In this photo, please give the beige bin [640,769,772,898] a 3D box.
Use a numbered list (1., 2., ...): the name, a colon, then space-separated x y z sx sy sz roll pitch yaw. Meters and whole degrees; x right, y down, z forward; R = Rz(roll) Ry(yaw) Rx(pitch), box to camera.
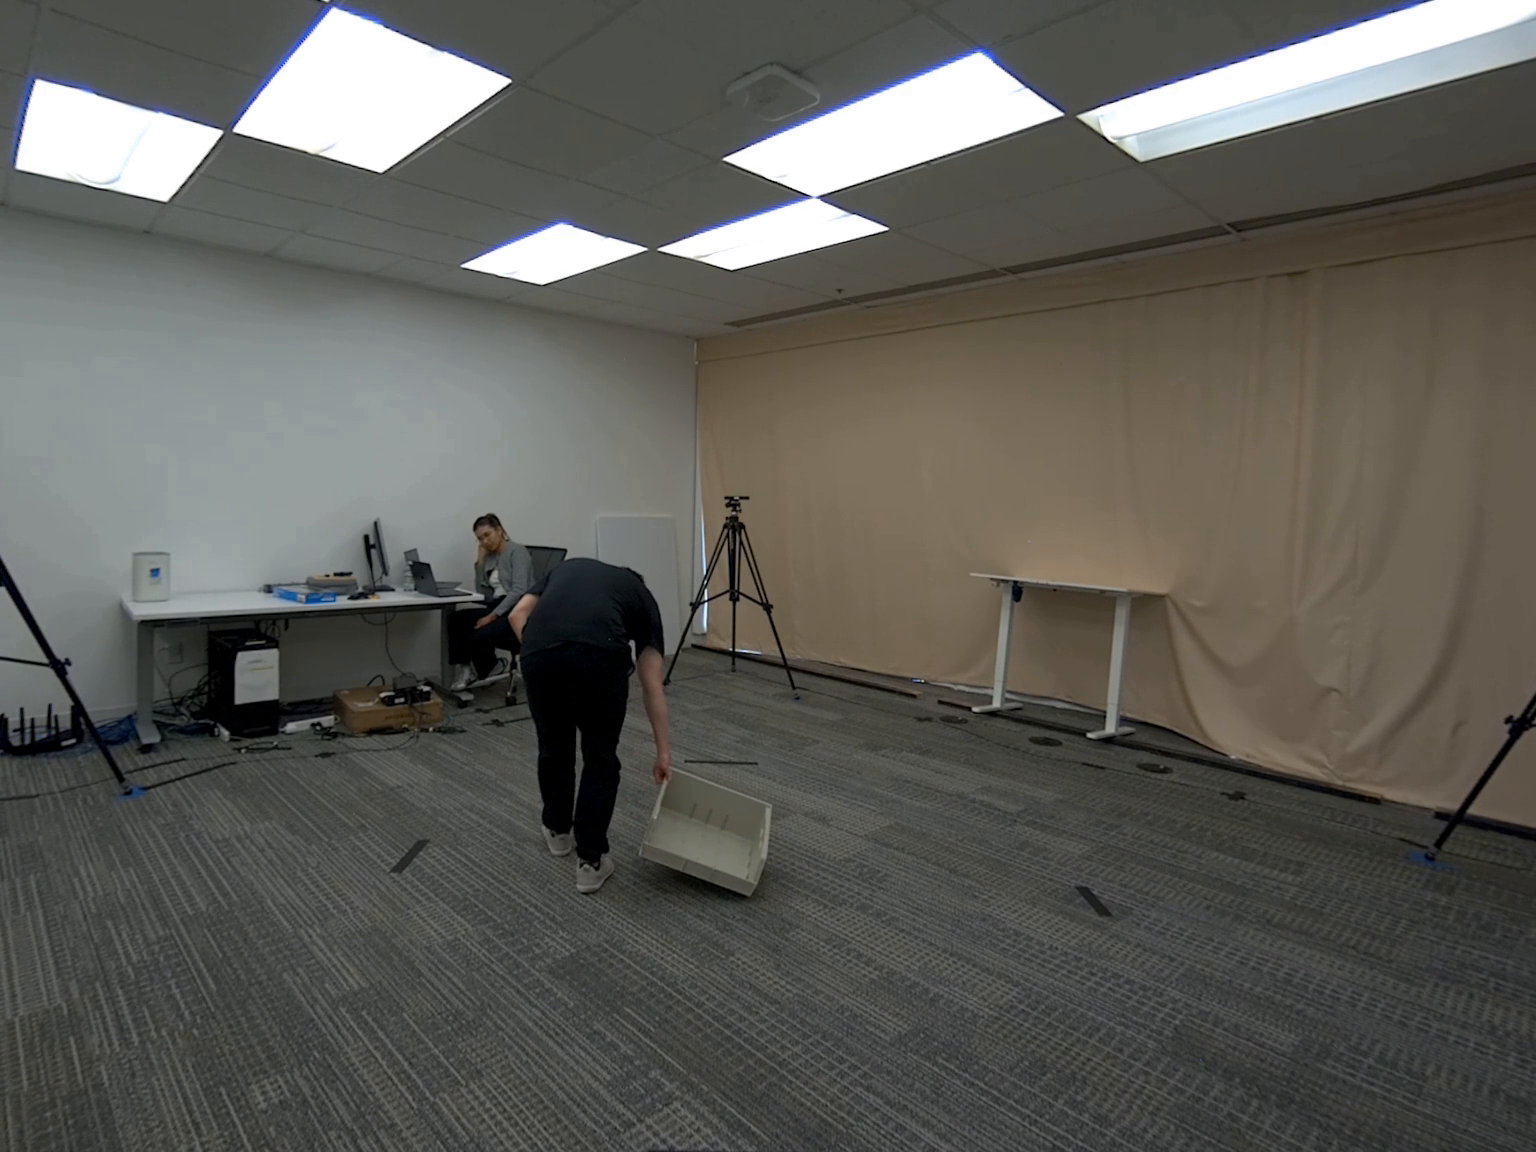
1. beige bin: -0.224 0.932 3.057 0.422 0.188 0.380 19 11 -2
